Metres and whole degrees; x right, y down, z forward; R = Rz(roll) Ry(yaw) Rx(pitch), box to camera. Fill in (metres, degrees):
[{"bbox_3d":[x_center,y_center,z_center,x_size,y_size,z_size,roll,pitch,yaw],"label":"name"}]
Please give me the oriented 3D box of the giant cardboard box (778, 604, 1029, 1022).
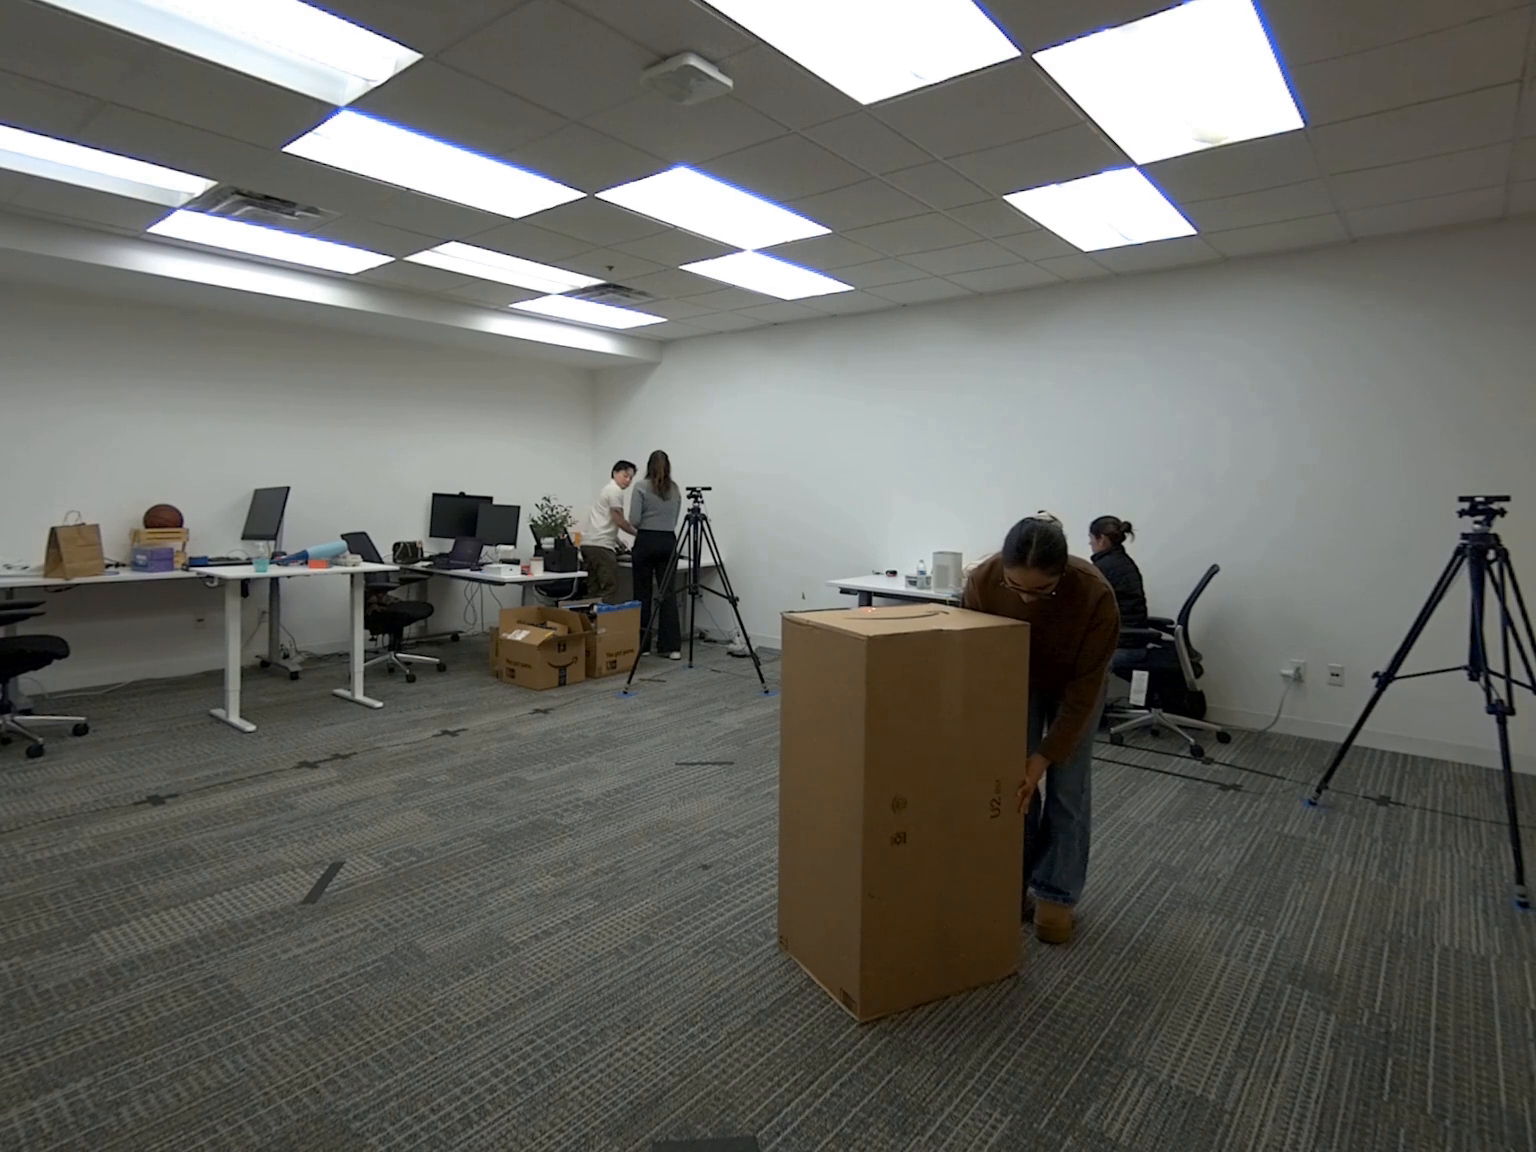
[{"bbox_3d":[0.378,0.629,2.502,0.563,1.022,0.439,-2,5,-29],"label":"giant cardboard box"}]
